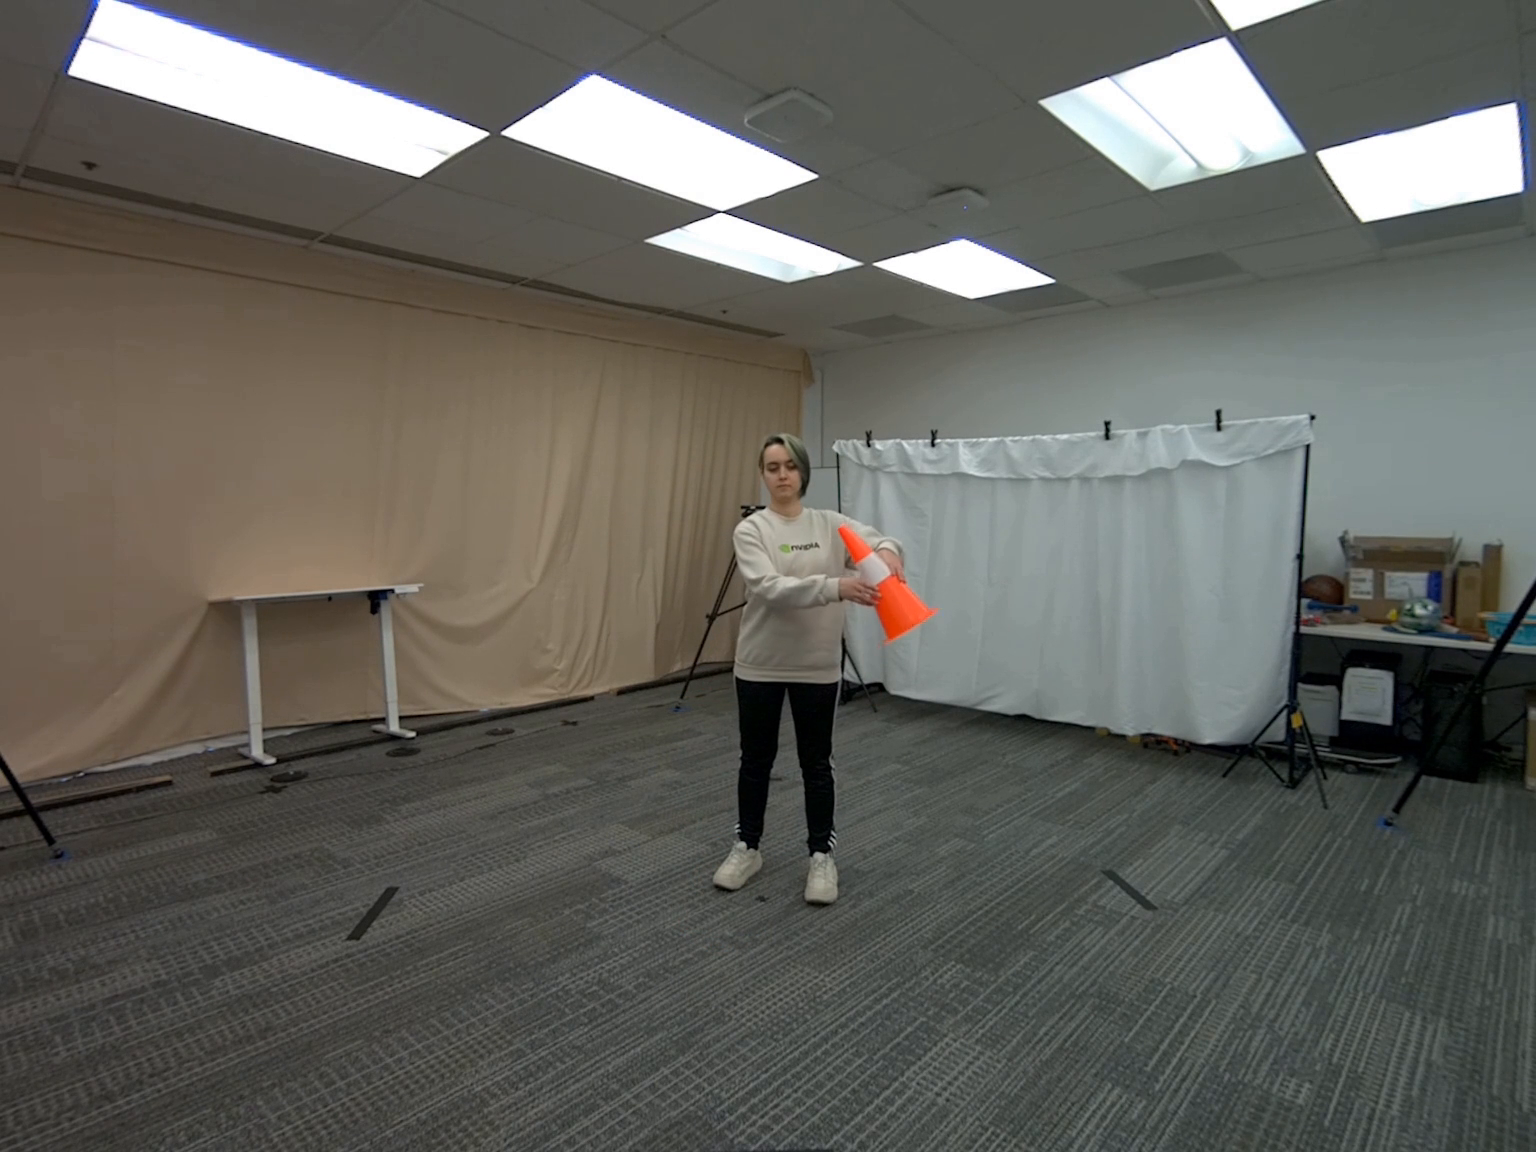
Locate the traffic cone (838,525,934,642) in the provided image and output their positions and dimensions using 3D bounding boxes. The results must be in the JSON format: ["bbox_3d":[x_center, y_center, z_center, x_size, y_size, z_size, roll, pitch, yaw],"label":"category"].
[{"bbox_3d":[0.337,0.010,2.668,0.206,0.386,0.200,-36,-4,16],"label":"traffic cone"}]
